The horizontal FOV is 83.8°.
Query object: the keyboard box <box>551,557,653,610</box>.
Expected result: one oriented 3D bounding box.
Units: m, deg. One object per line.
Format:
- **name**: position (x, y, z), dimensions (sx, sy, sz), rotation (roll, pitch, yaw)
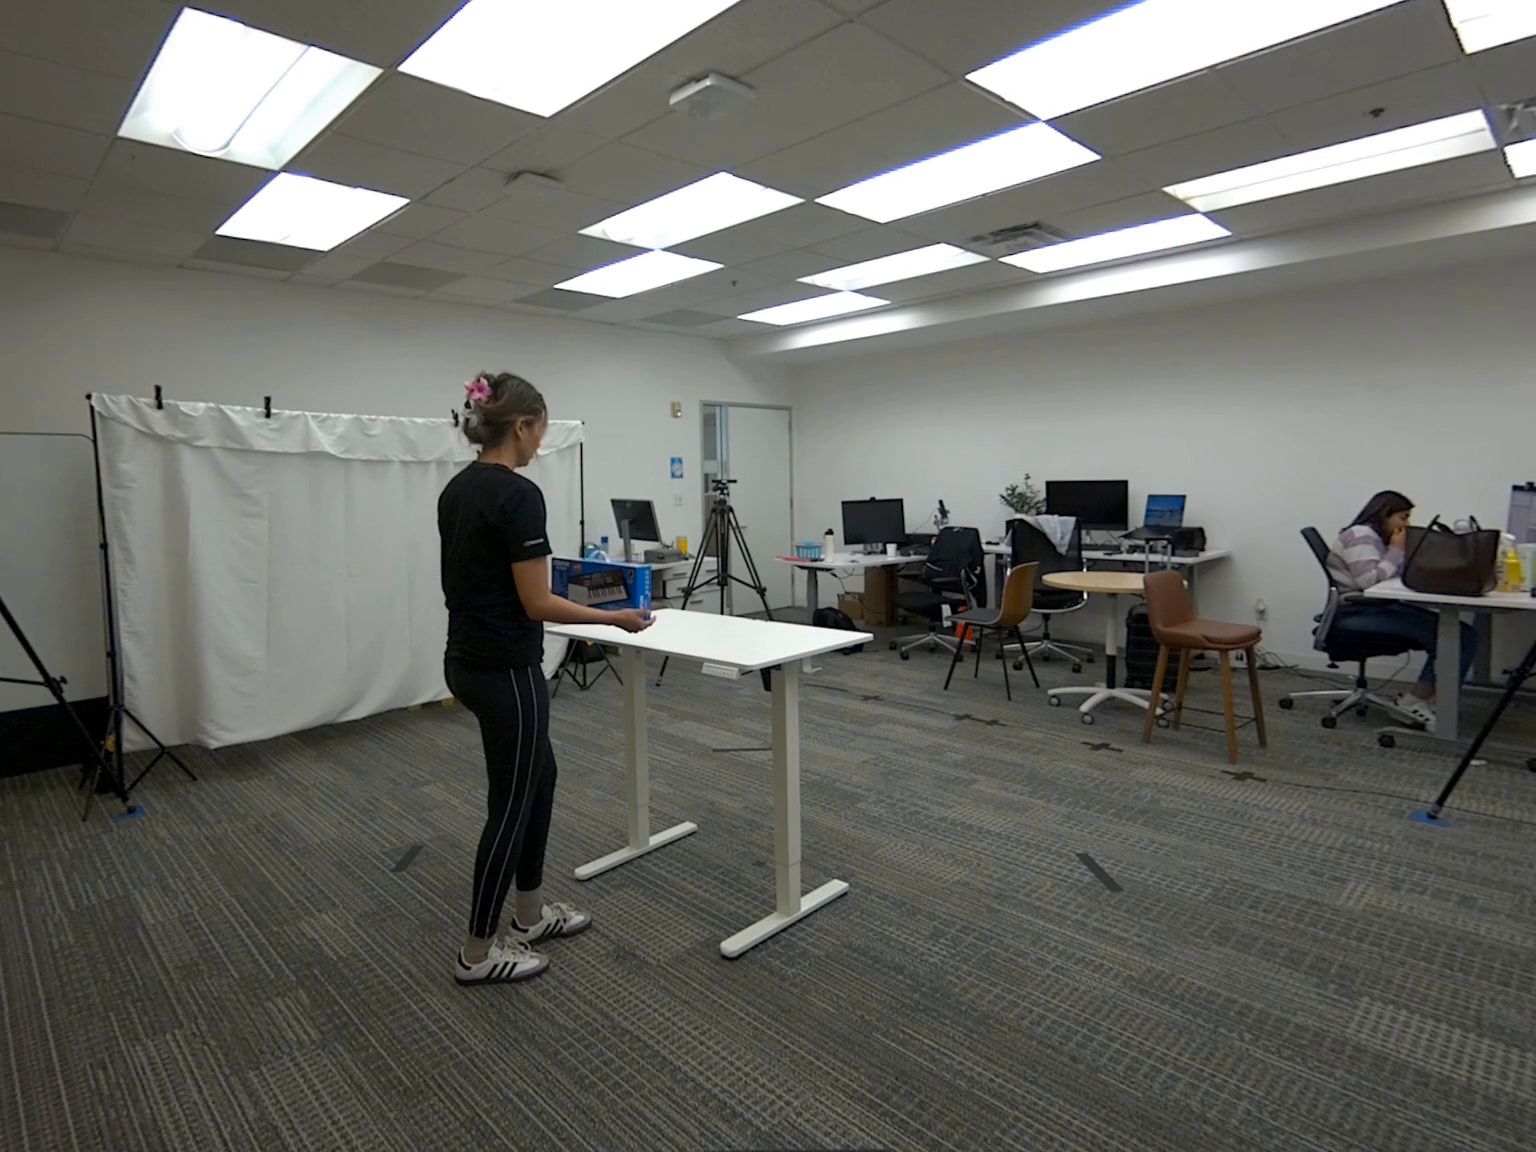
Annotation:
- **keyboard box**: position (-0.528, 0.040, 2.676), dimensions (0.450, 0.175, 0.057), rotation (6, 5, 43)
